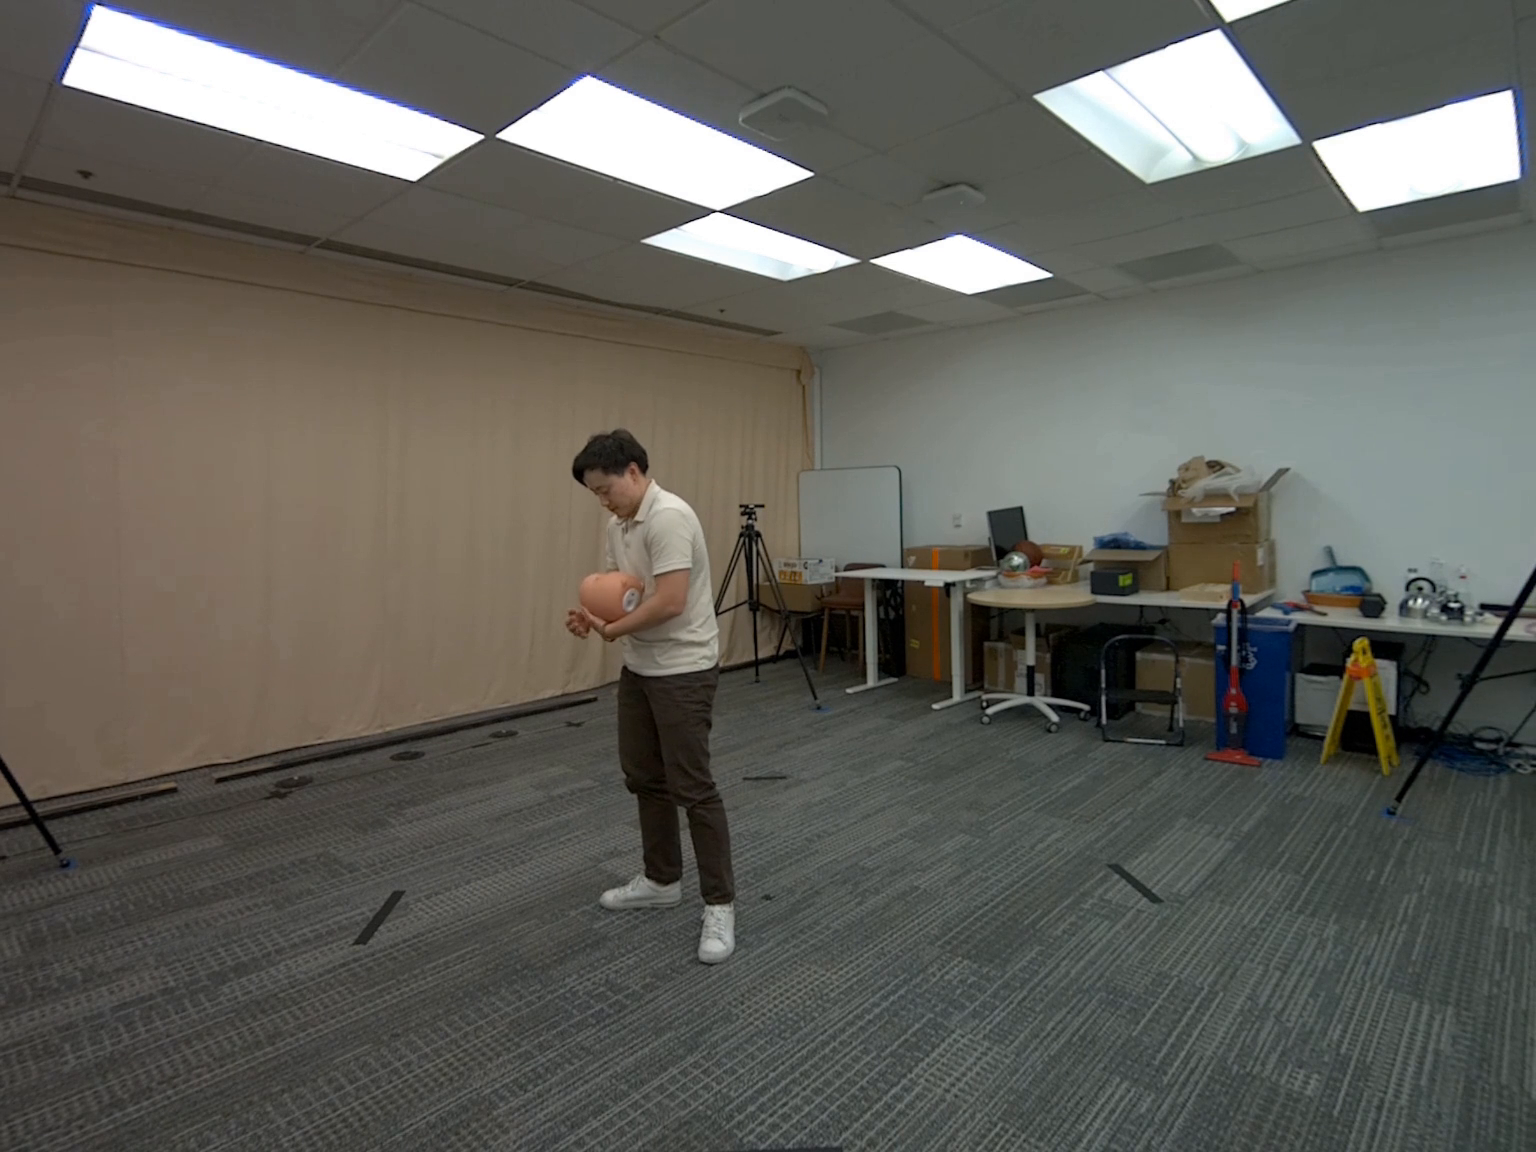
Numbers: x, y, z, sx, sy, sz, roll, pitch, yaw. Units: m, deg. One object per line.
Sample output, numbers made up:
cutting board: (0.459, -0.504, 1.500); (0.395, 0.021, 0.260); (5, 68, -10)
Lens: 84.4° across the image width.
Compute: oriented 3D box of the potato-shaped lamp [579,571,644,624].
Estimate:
potato-shaped lamp: (-0.505, 0.064, 2.743); (0.204, 0.171, 0.160); (19, -7, 25)
